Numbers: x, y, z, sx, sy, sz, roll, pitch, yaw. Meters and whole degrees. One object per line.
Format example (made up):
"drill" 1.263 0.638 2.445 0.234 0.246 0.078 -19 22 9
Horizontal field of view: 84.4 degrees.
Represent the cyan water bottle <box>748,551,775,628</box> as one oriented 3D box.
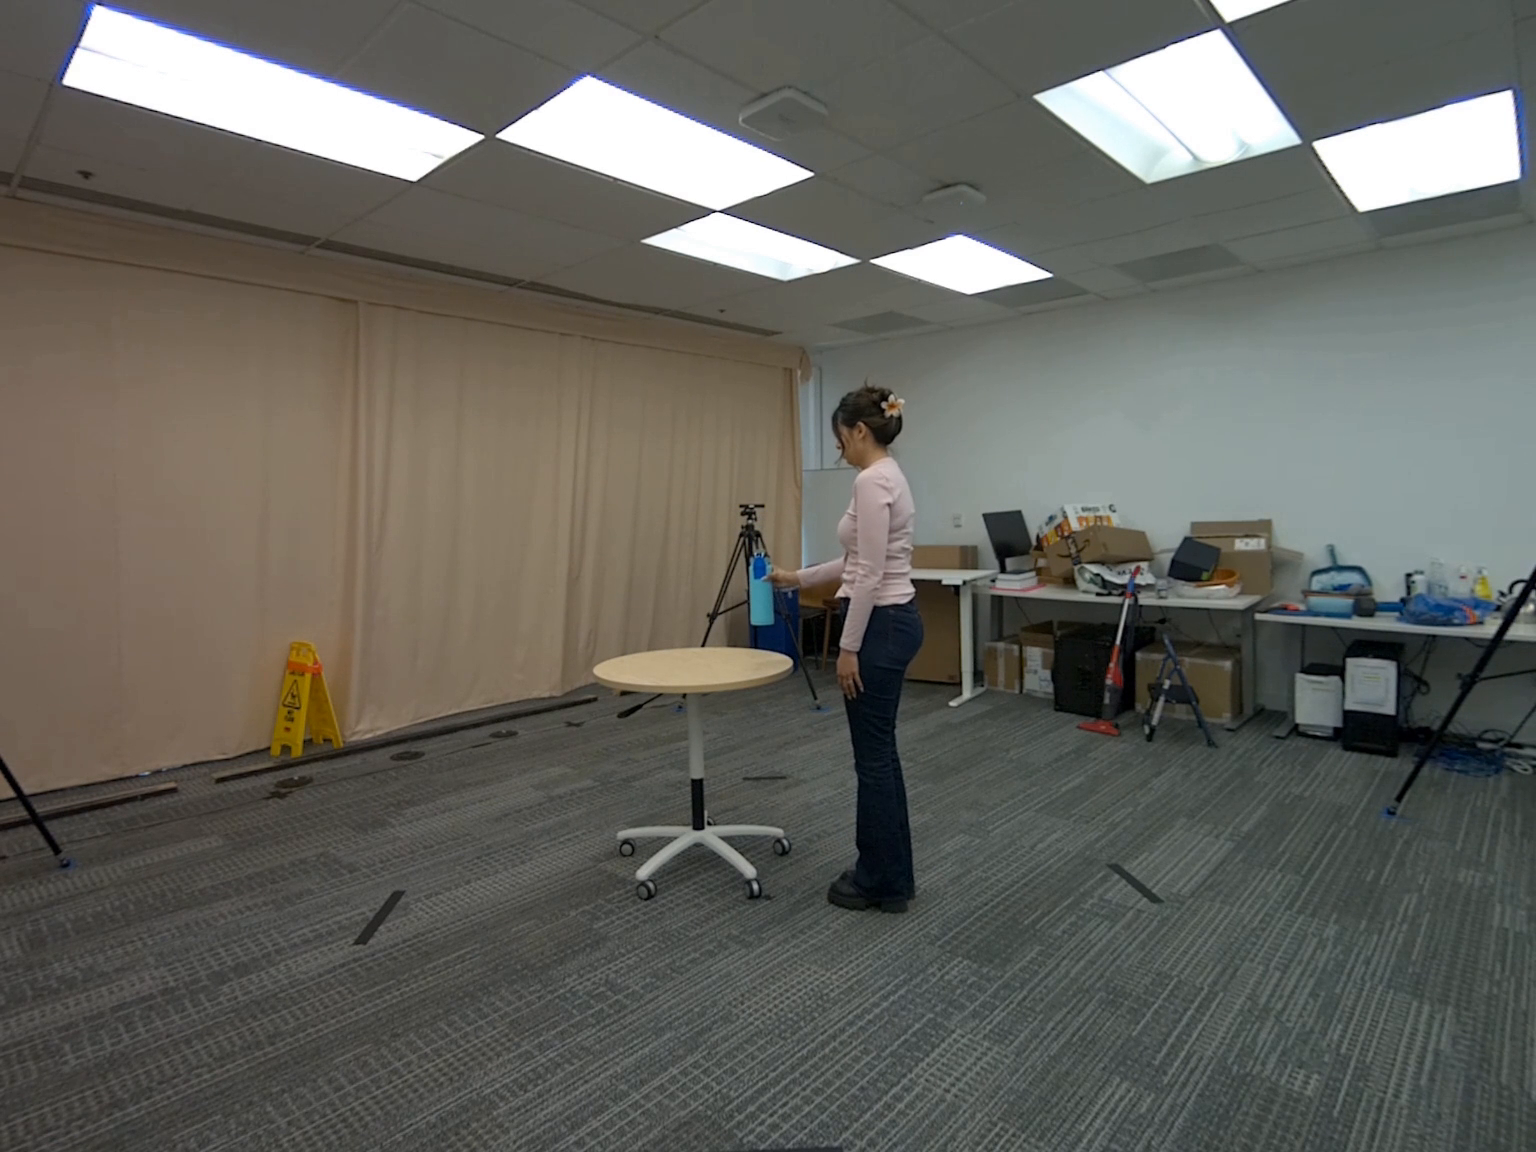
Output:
"cyan water bottle" -0.018 0.043 3.212 0.092 0.283 0.092 -2 3 -2
